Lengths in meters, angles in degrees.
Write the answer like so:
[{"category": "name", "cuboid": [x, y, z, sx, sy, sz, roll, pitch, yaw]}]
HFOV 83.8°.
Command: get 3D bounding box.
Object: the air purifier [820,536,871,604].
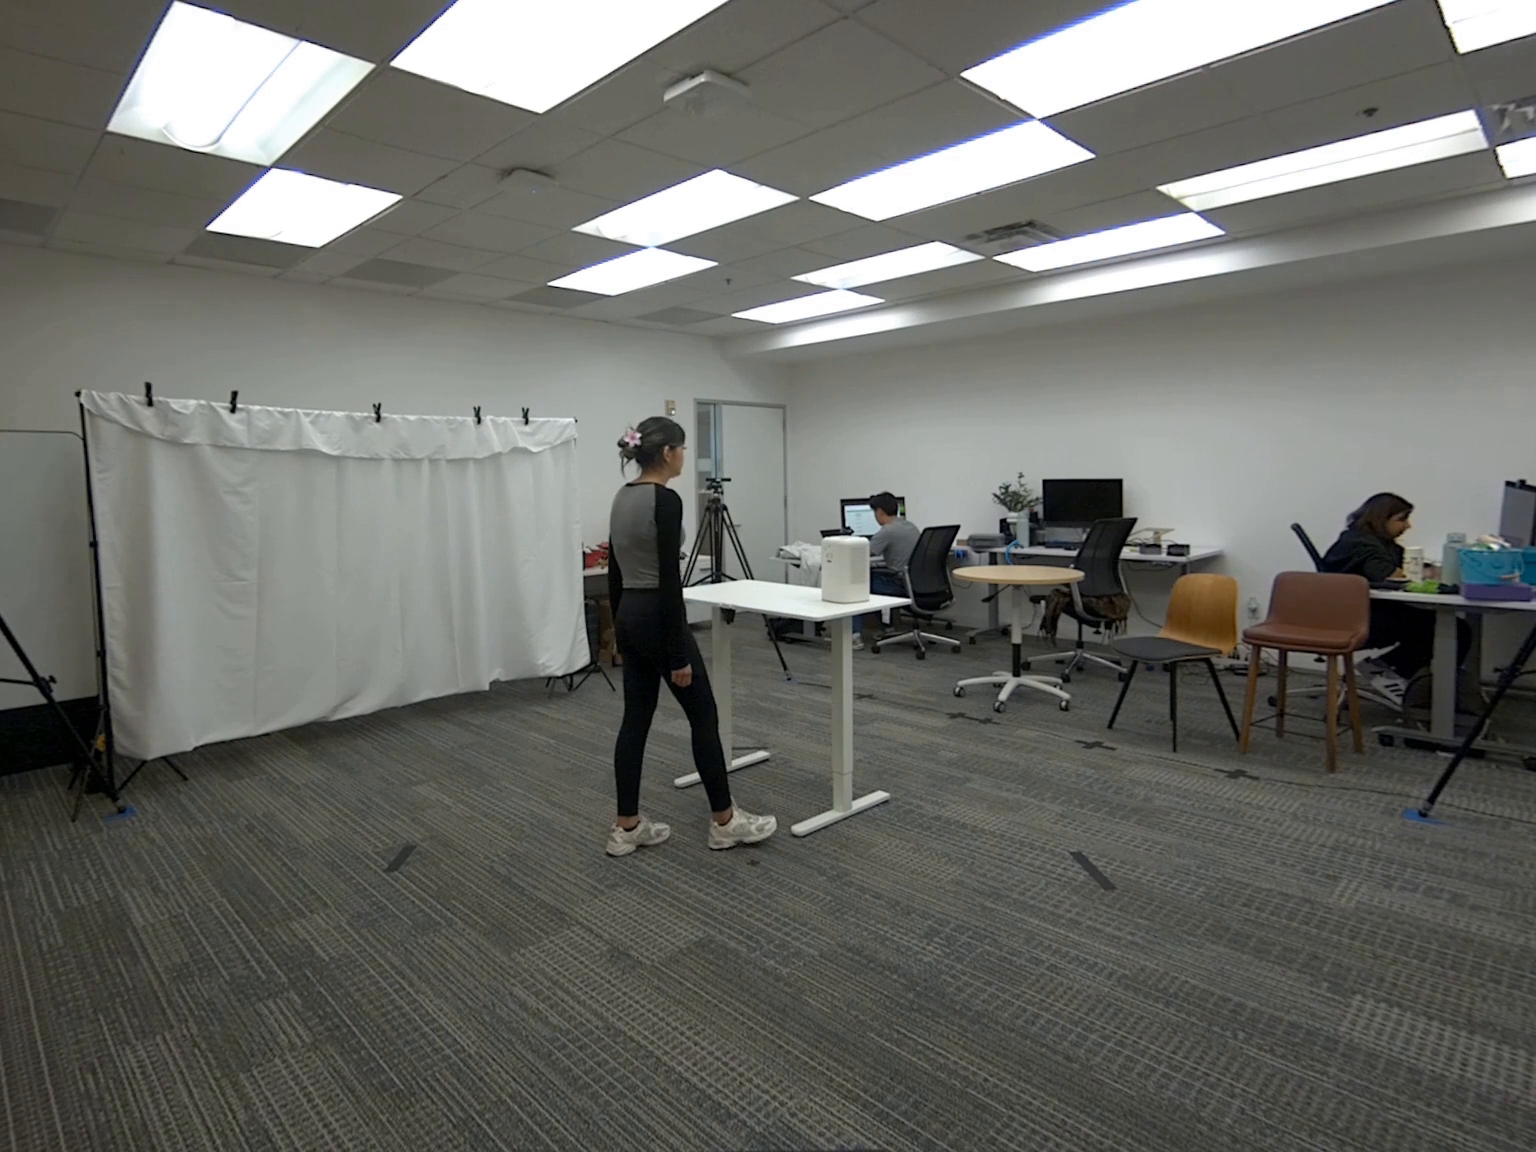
[{"category": "air purifier", "cuboid": [0.330, -0.031, 3.563, 0.167, 0.264, 0.176, -5, 7, -32]}]
